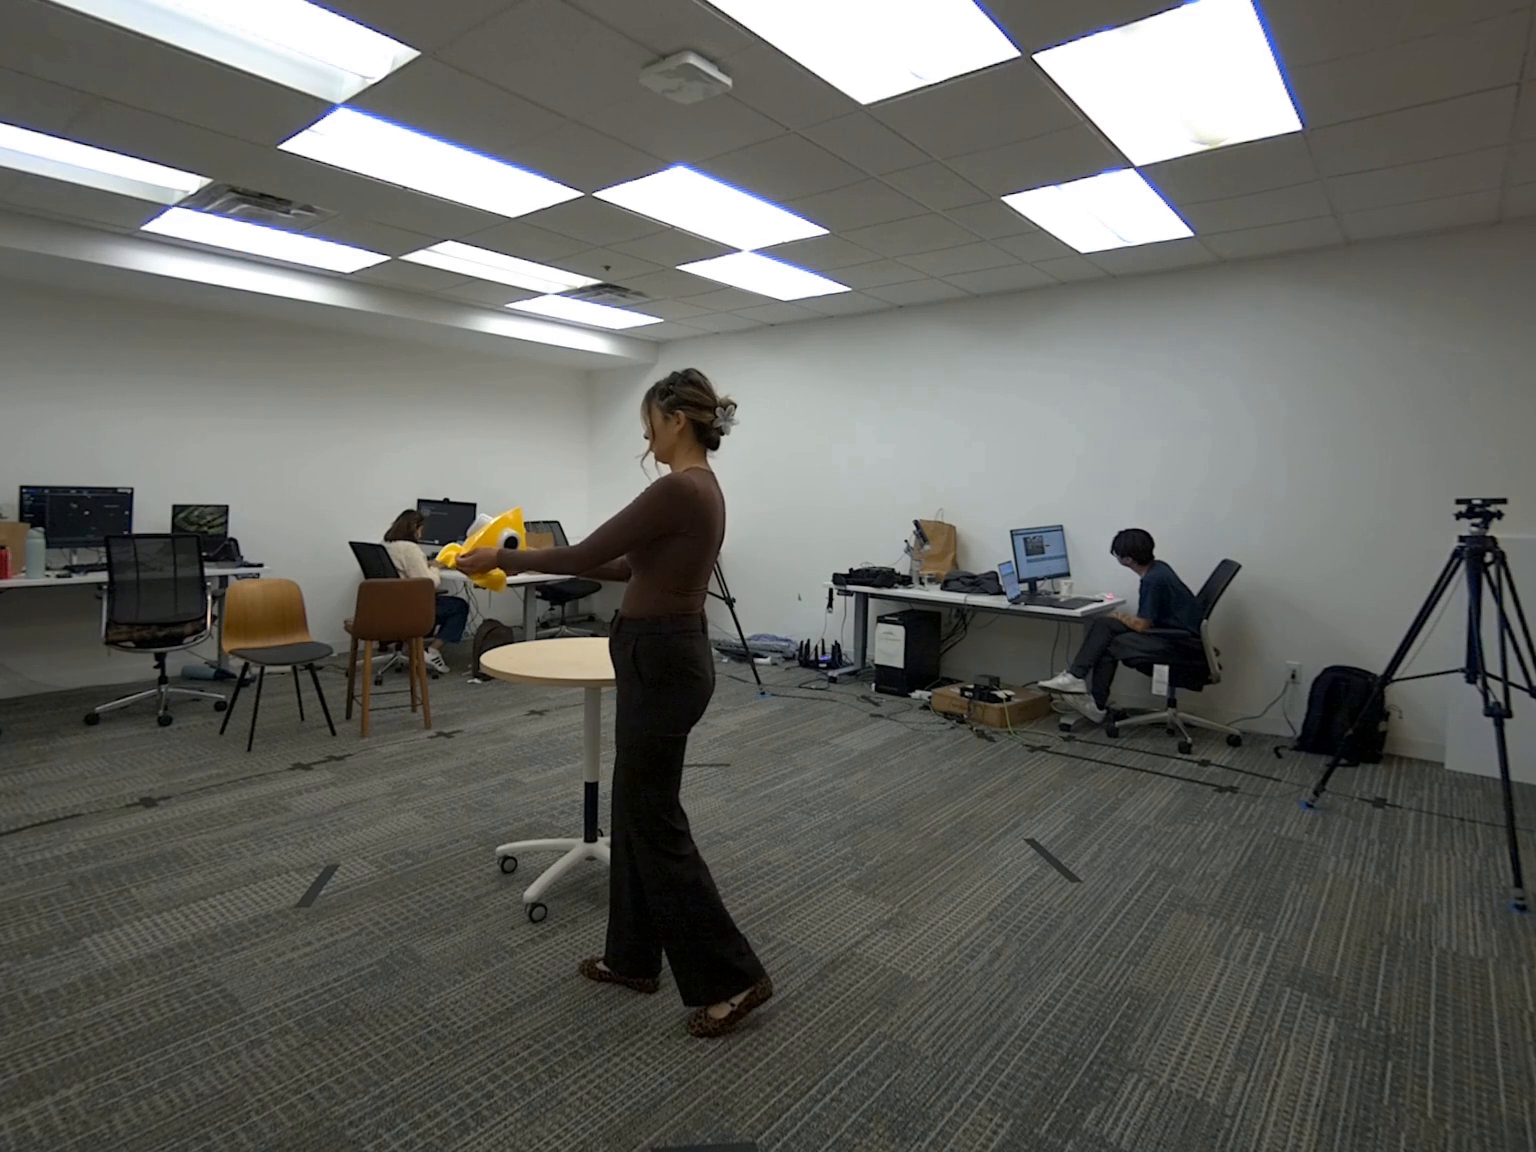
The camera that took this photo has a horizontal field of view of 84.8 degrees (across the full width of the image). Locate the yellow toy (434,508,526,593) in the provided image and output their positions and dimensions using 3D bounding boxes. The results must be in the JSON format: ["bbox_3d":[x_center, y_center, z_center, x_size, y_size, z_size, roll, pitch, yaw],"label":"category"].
[{"bbox_3d":[-0.786,-0.106,2.383,0.208,0.231,0.189,28,-2,11],"label":"yellow toy"}]
